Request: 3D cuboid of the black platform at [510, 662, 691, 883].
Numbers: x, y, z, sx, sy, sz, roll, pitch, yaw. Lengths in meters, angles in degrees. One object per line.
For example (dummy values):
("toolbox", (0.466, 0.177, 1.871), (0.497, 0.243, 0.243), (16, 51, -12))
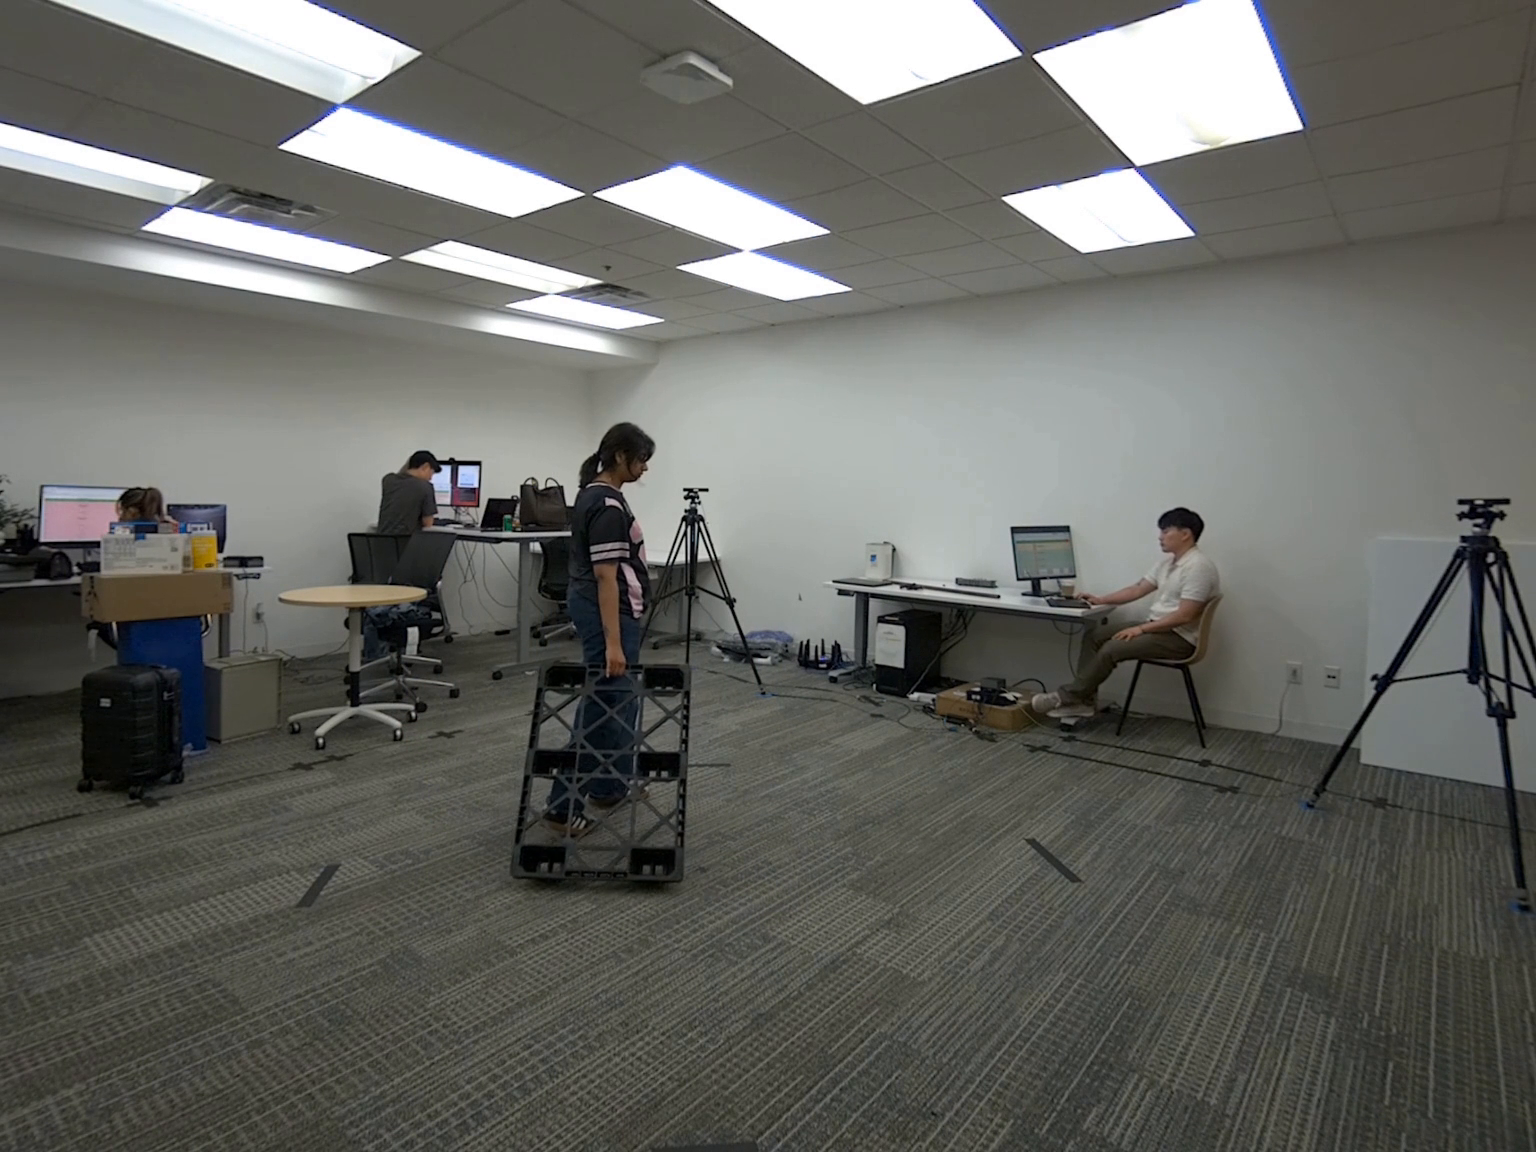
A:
("black platform", (-0.608, 0.719, 3.174), (0.605, 0.826, 0.140), (0, -31, 0))
